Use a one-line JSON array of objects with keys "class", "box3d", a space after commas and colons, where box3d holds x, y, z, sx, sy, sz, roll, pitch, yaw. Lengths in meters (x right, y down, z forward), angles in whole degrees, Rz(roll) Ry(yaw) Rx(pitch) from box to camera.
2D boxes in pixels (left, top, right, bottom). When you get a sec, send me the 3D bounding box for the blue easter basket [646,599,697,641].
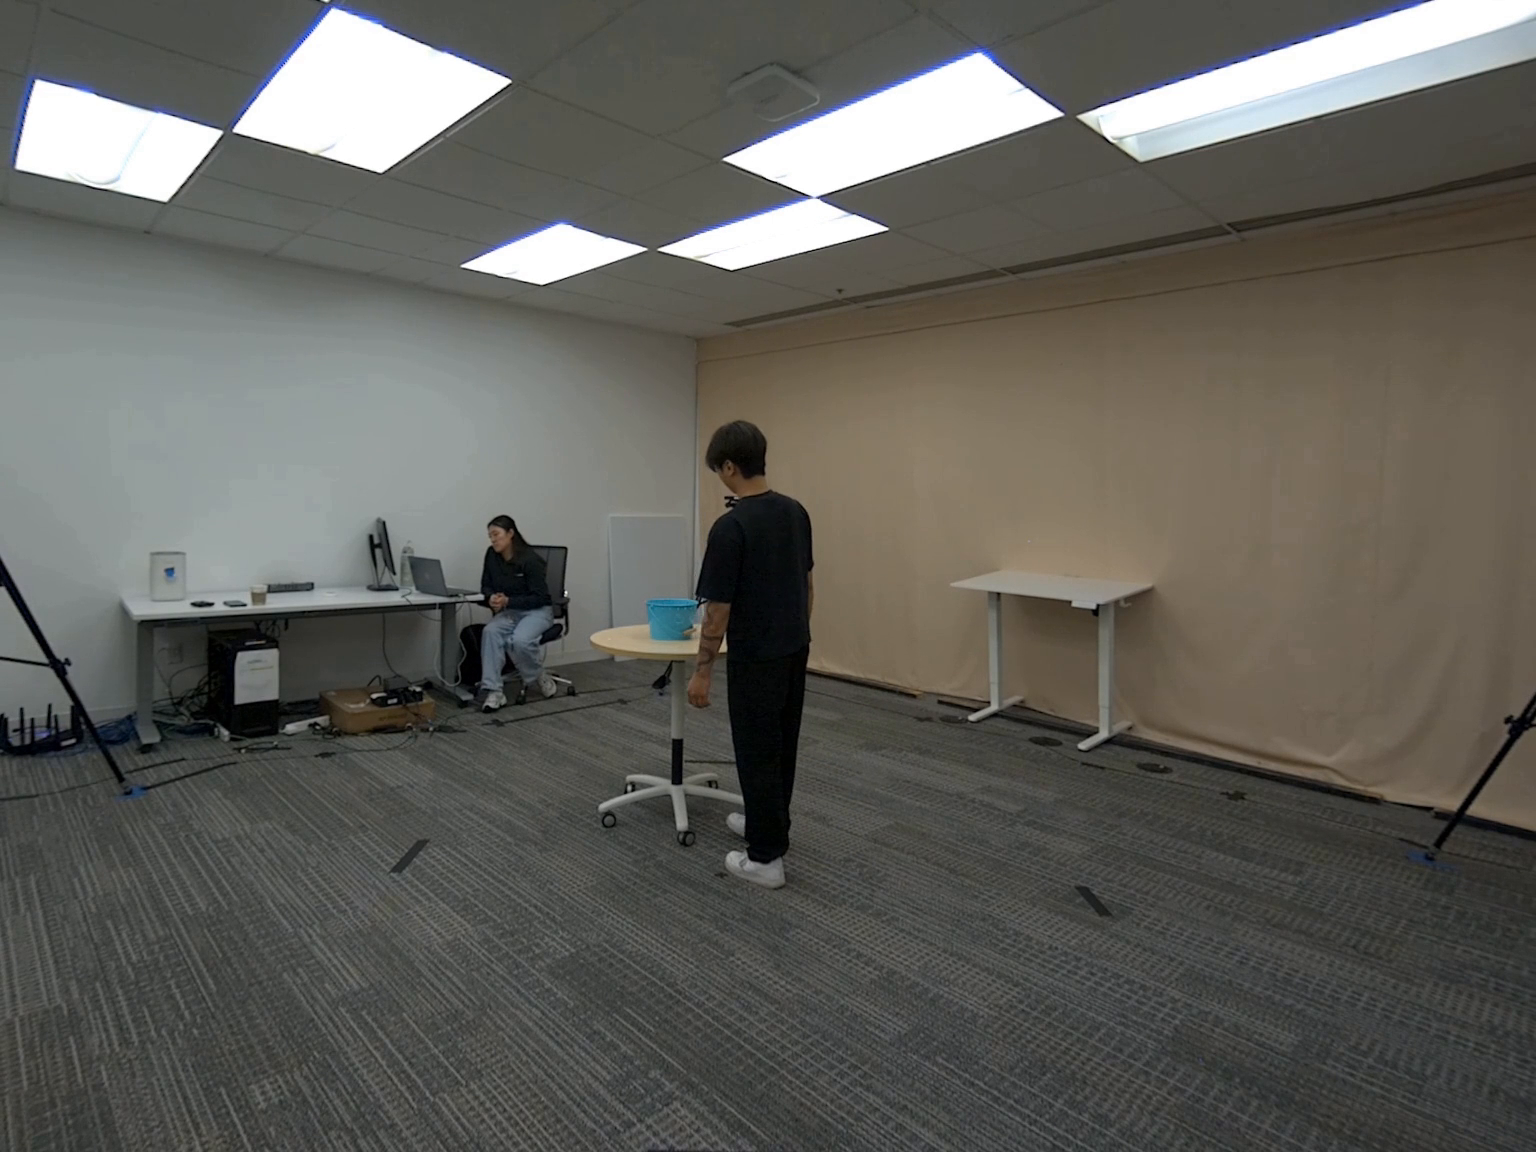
[{"class": "blue easter basket", "box3d": [-0.428, 0.190, 3.643, 0.243, 0.155, 0.244, 1, 5, -1]}]
